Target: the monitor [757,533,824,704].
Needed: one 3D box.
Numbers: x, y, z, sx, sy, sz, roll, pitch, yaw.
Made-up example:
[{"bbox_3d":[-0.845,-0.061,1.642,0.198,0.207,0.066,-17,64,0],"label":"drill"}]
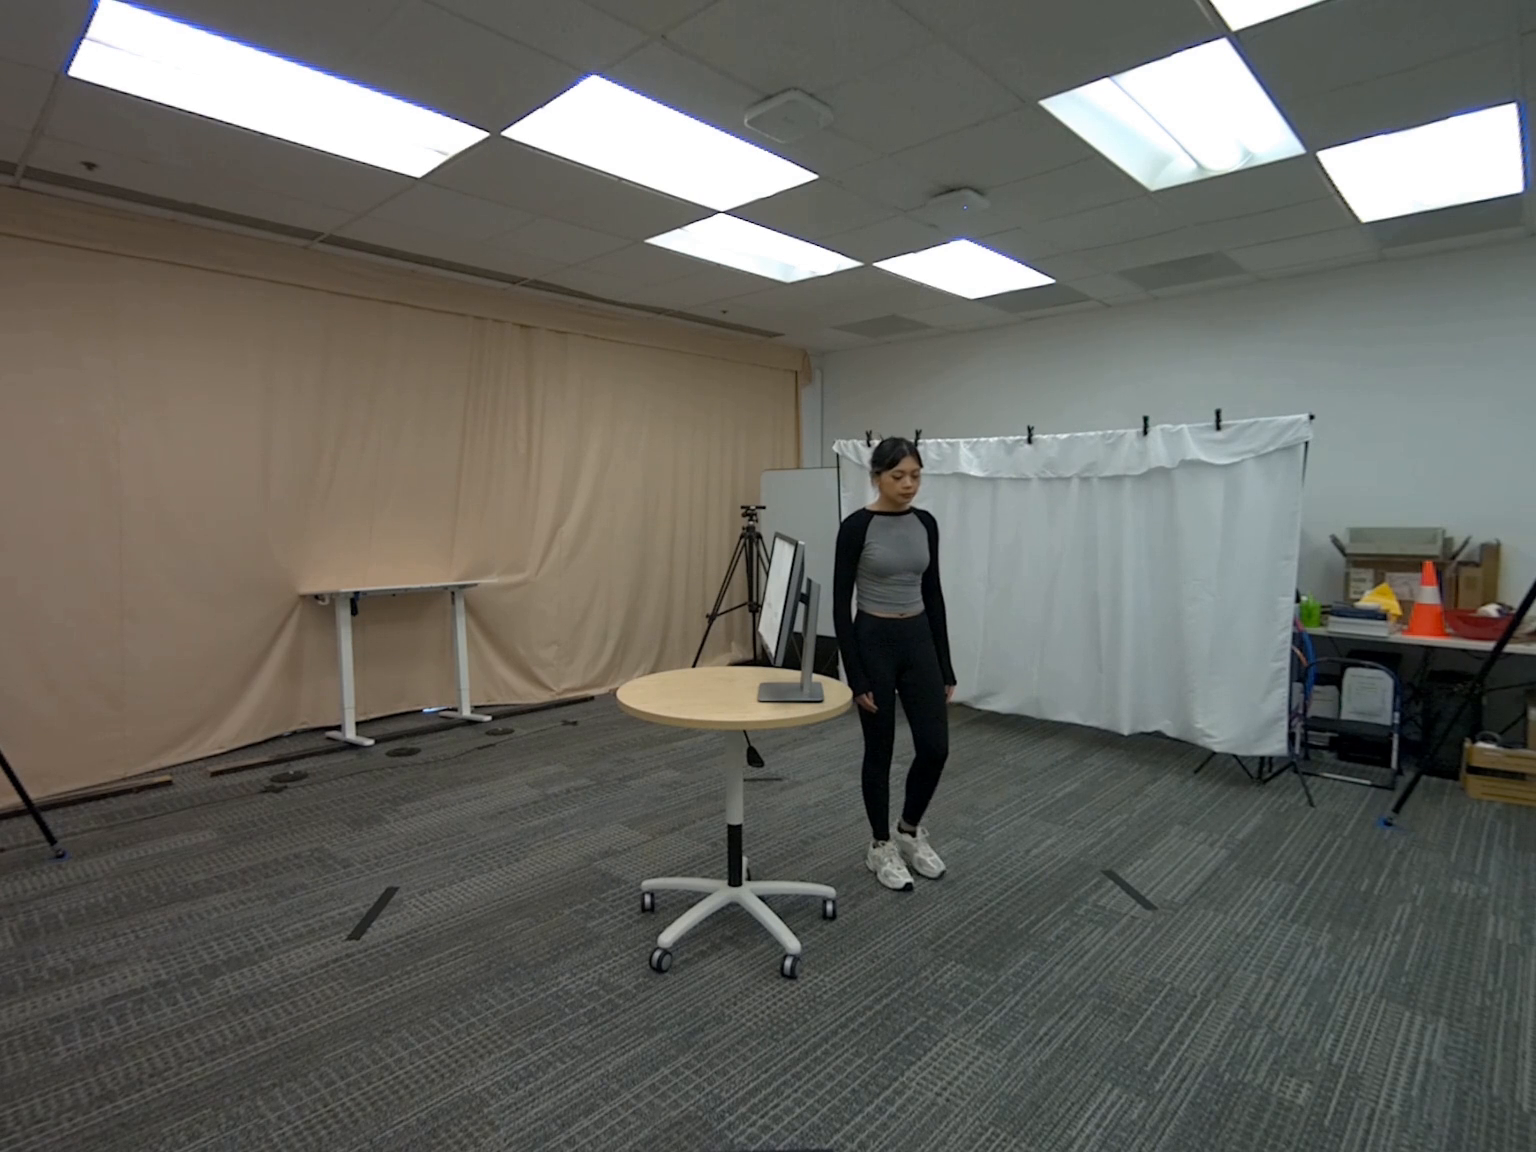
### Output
[{"bbox_3d":[0.075,0.129,2.677,0.186,0.521,0.545,-3,5,-8],"label":"monitor"}]
